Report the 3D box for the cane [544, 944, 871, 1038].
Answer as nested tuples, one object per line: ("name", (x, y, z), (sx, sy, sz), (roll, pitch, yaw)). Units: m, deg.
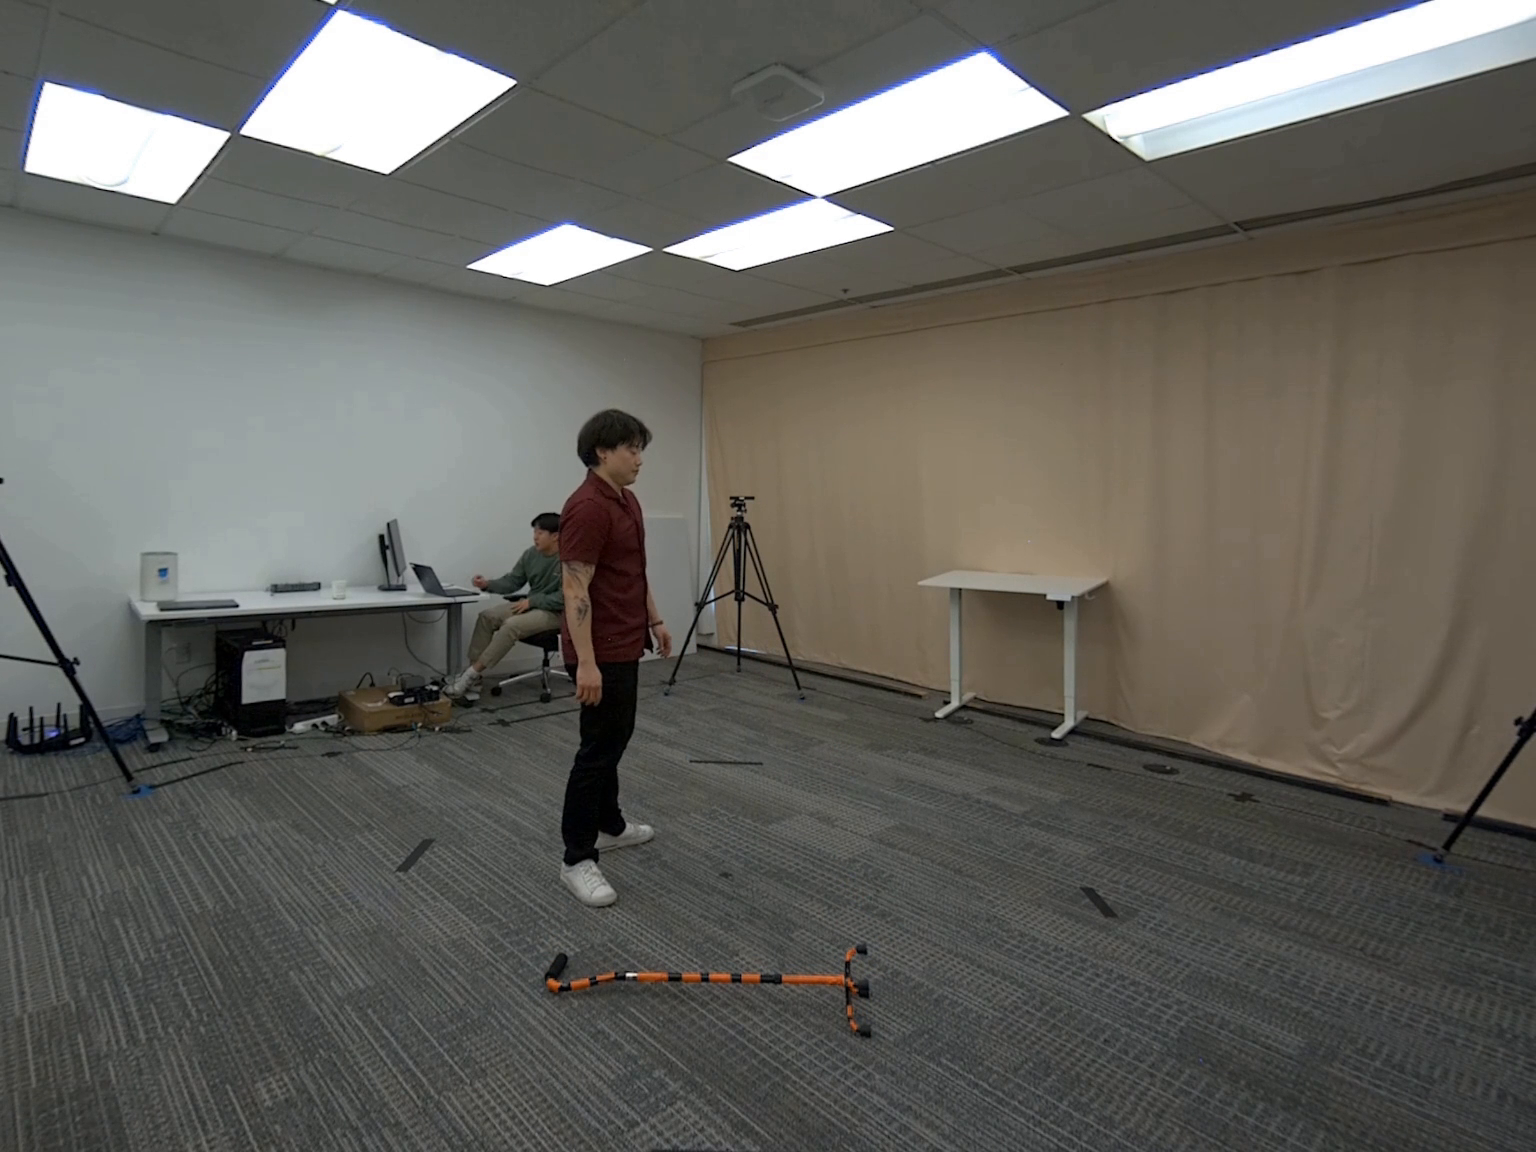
("cane", (-0.184, 1.134, 2.331), (0.913, 0.151, 0.206), (-2, 4, 8))
